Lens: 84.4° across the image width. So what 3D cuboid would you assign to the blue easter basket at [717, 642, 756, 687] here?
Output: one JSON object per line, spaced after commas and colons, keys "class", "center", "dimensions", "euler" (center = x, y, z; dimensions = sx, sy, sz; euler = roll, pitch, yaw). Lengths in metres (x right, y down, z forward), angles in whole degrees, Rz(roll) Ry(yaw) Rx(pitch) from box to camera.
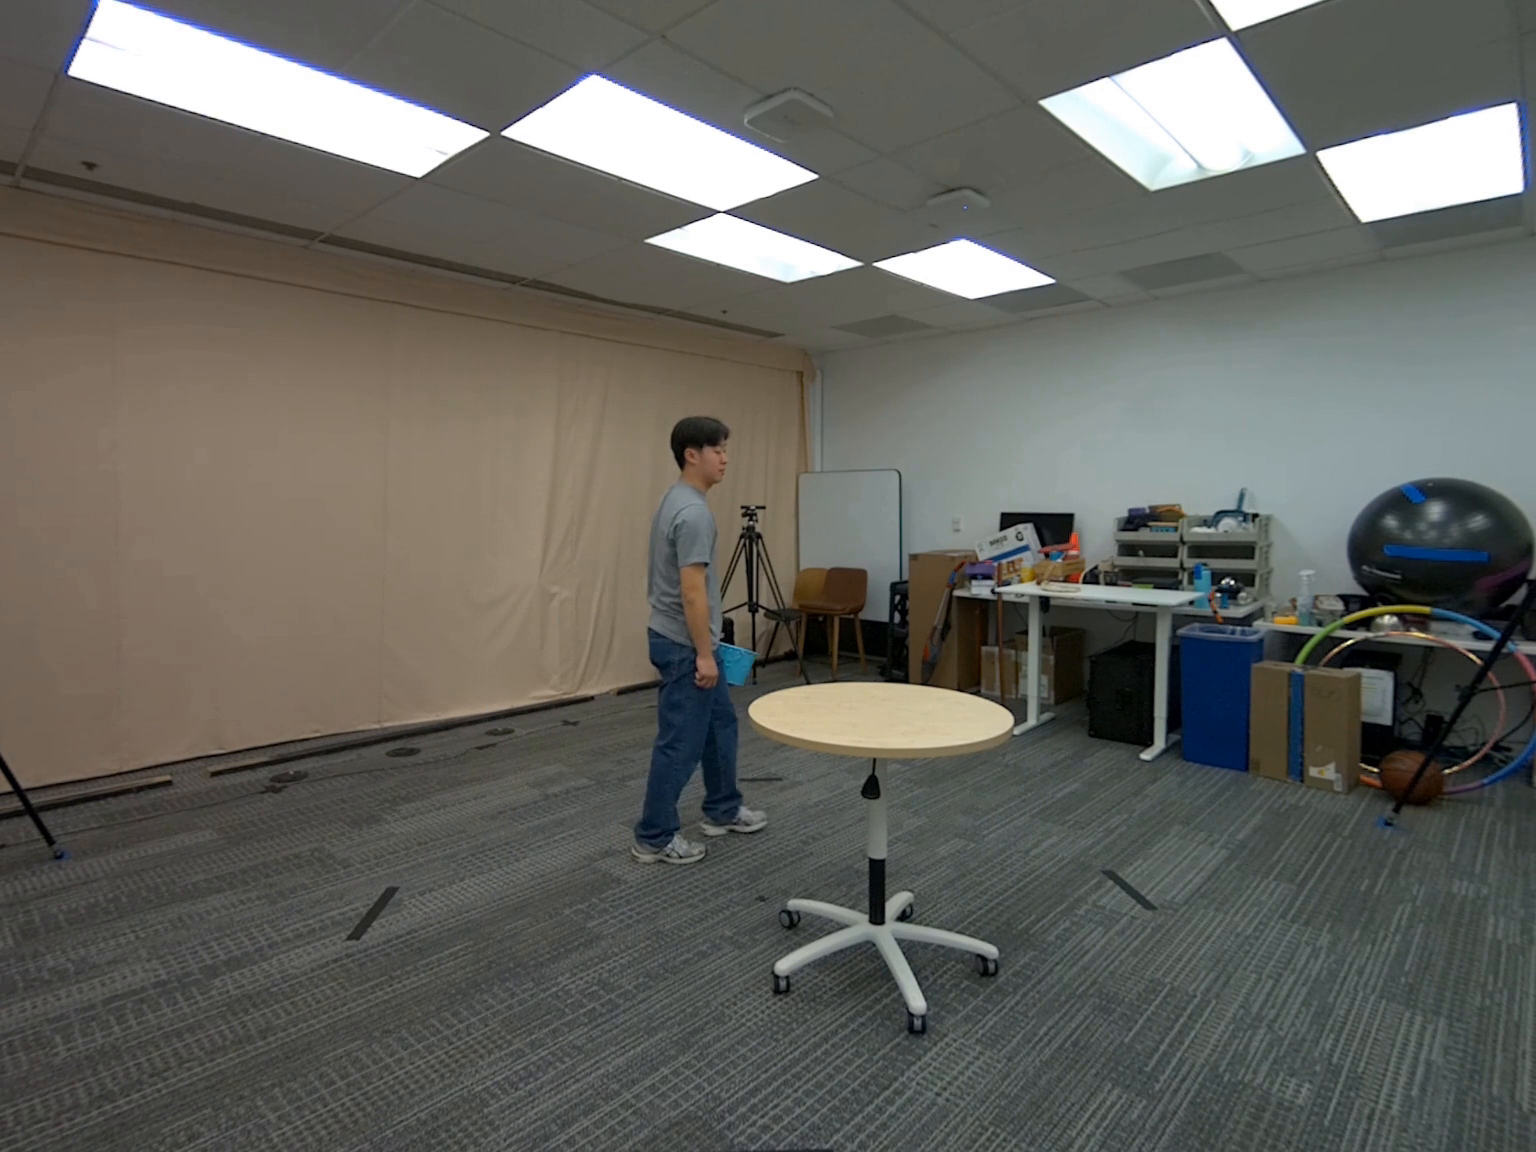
{"class": "blue easter basket", "center": [-0.184, 0.395, 3.715], "dimensions": [0.244, 0.156, 0.243], "euler": [17, -5, 0]}
